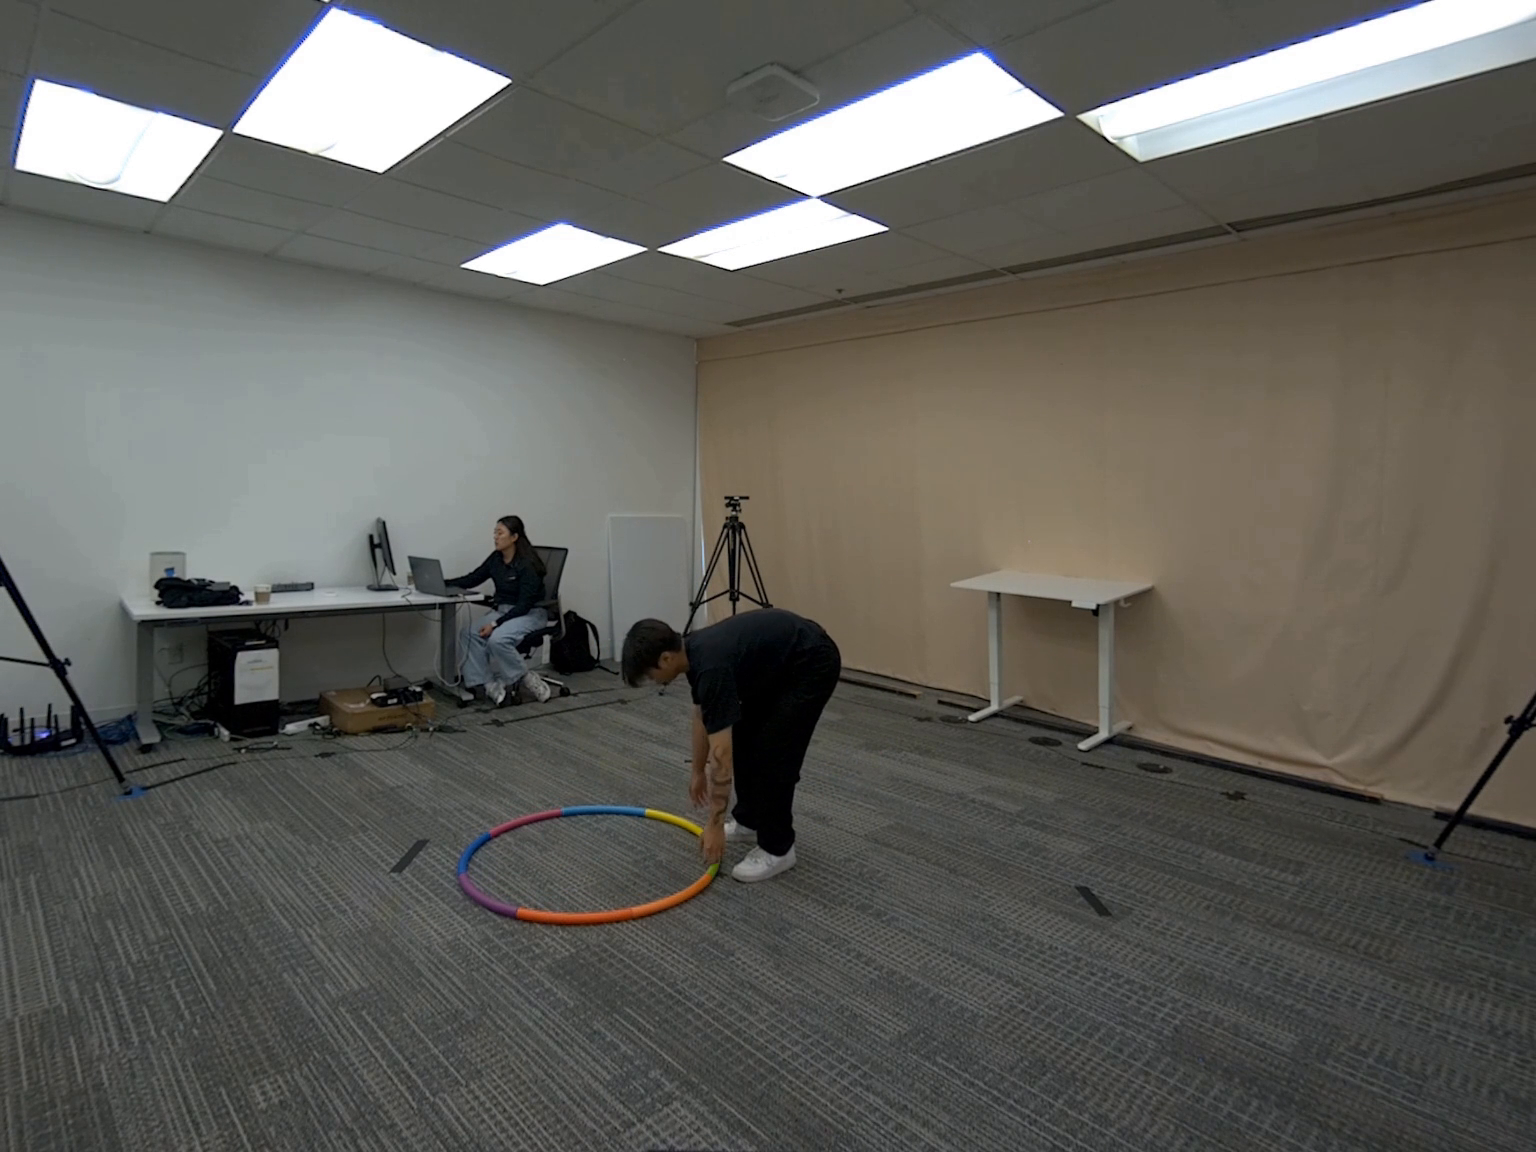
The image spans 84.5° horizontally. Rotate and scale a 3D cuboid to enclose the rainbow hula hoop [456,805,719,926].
[{"bbox_3d":[-0.668,1.053,3.201,0.978,0.035,0.982,1,5,-1],"label":"rainbow hula hoop"}]
